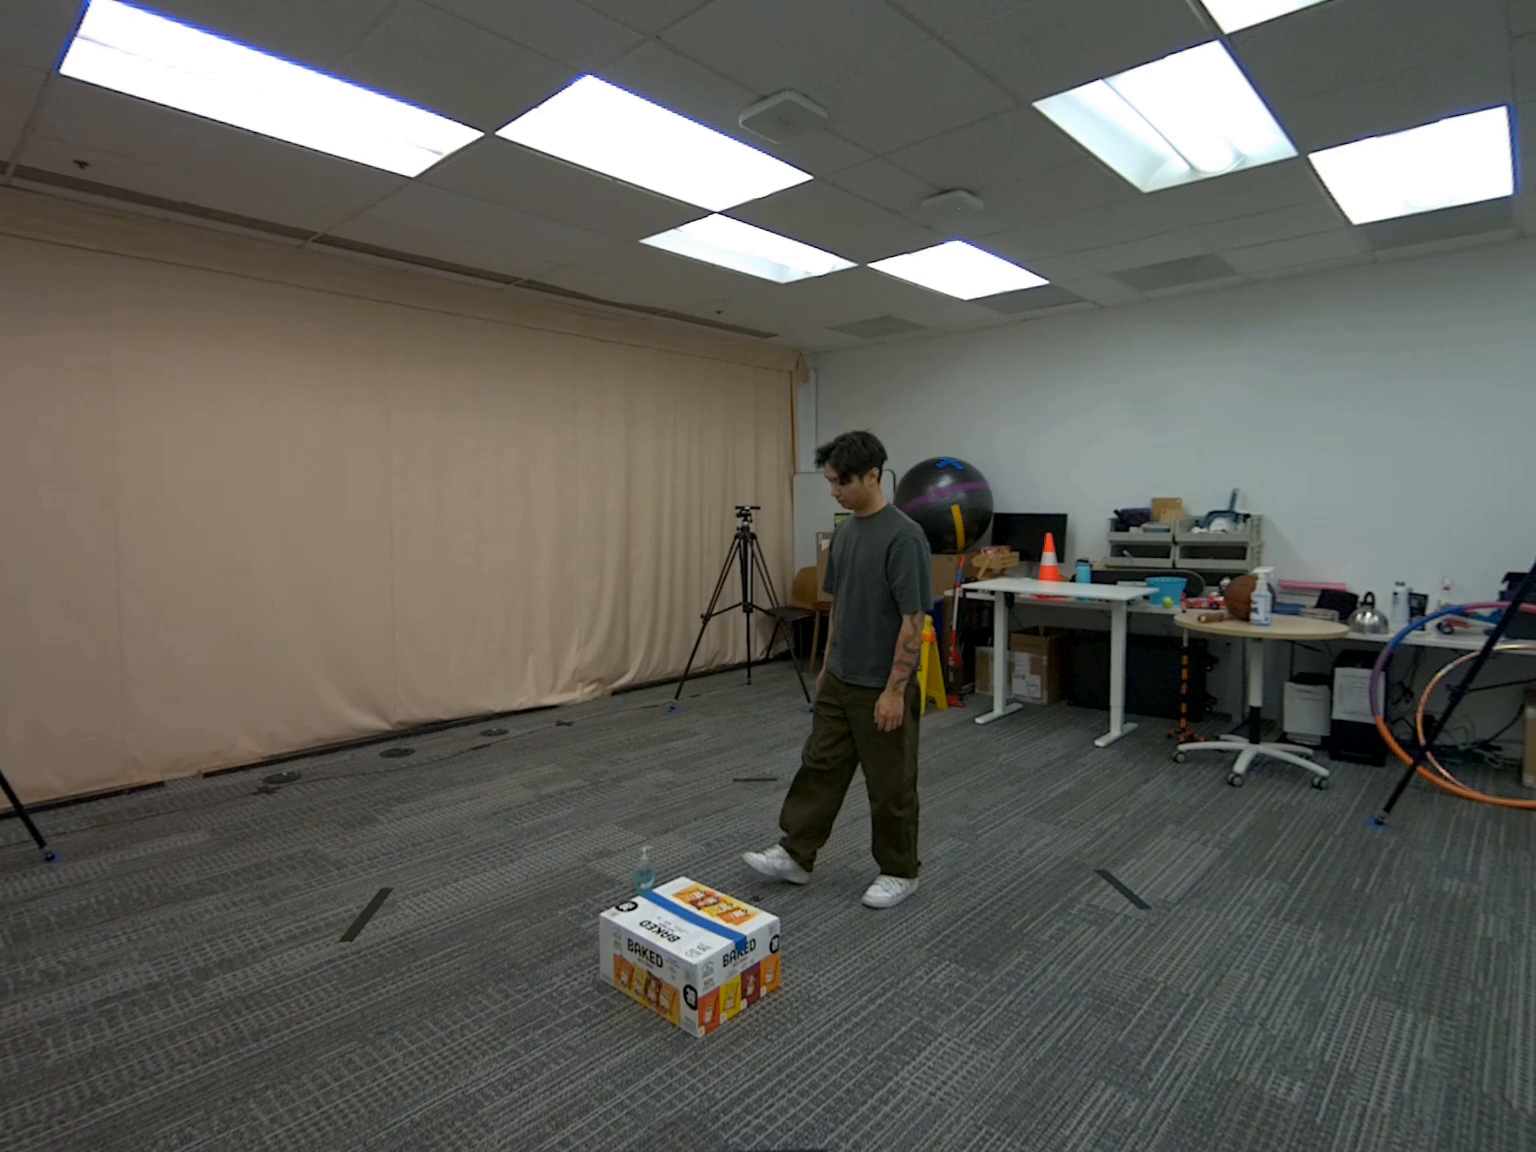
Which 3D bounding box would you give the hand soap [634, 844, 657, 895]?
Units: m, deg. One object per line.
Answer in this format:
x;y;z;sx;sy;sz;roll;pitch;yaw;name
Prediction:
-0.444;1.068;3.039;0.083;0.168;0.044;-4;1;-23;hand soap
